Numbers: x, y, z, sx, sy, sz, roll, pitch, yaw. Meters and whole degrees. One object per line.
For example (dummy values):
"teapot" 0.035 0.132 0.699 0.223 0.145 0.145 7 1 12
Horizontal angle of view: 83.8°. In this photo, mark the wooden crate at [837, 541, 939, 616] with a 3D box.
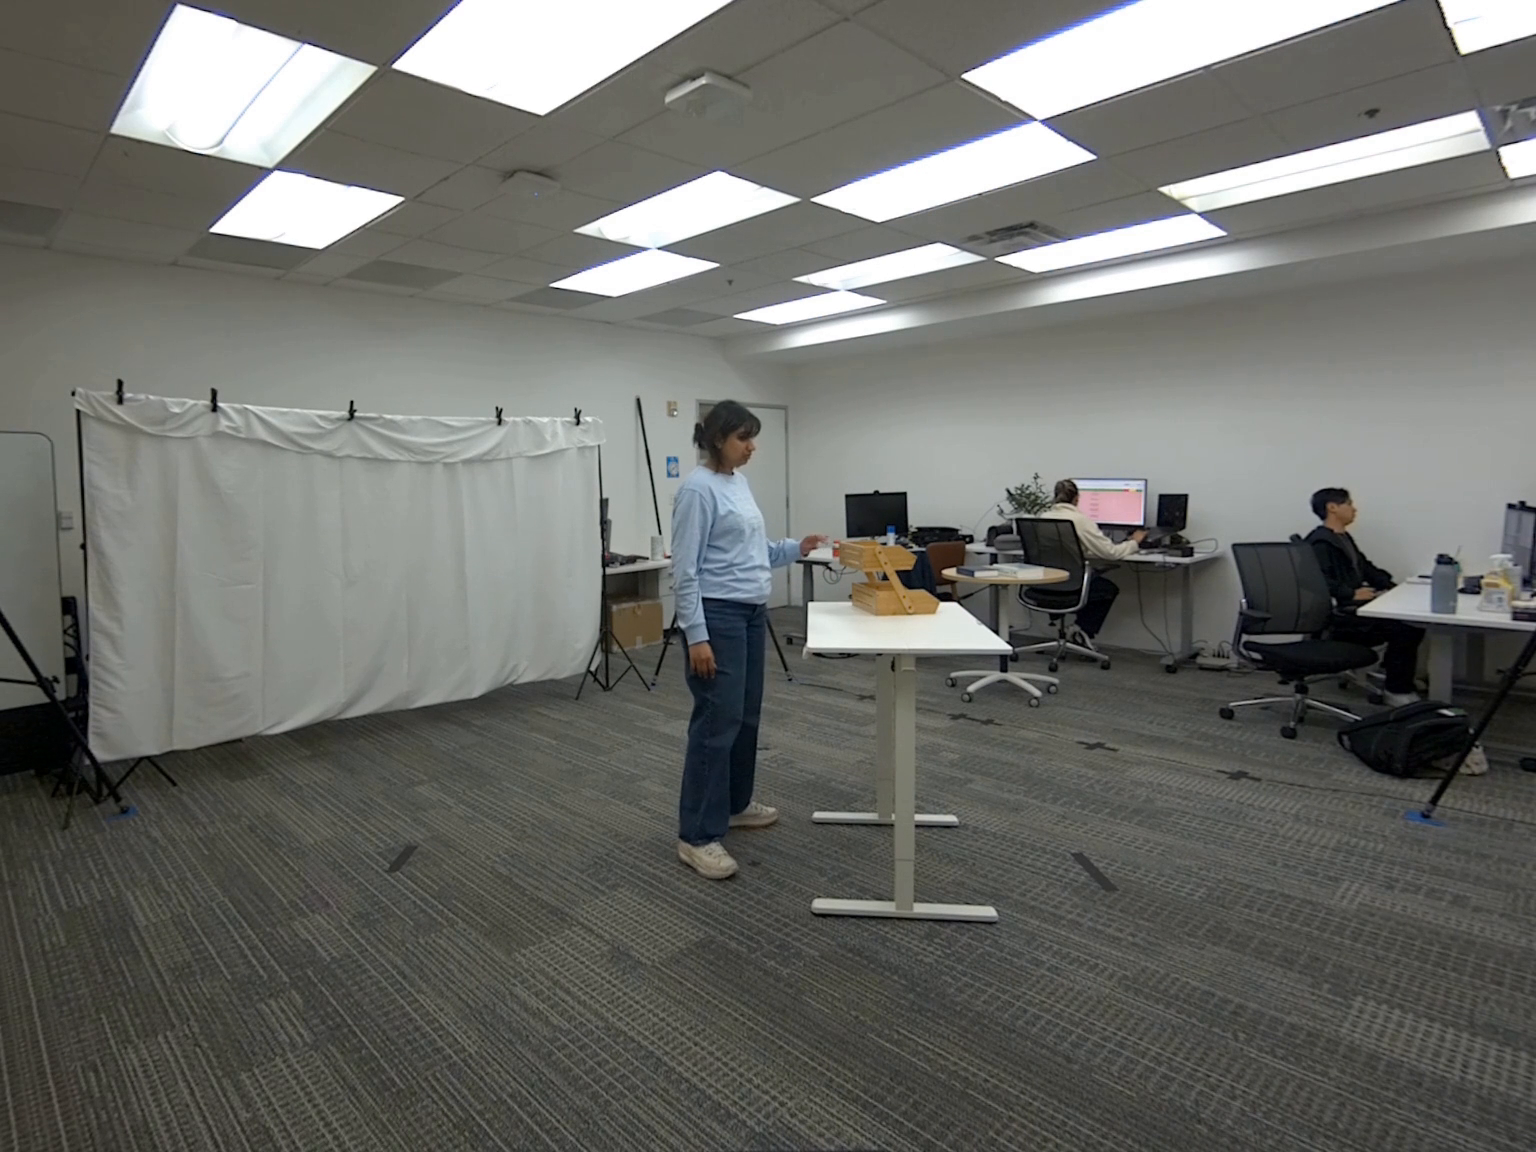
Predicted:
"wooden crate" 0.463 -0.002 3.323 0.299 0.272 0.329 -2 5 -11
